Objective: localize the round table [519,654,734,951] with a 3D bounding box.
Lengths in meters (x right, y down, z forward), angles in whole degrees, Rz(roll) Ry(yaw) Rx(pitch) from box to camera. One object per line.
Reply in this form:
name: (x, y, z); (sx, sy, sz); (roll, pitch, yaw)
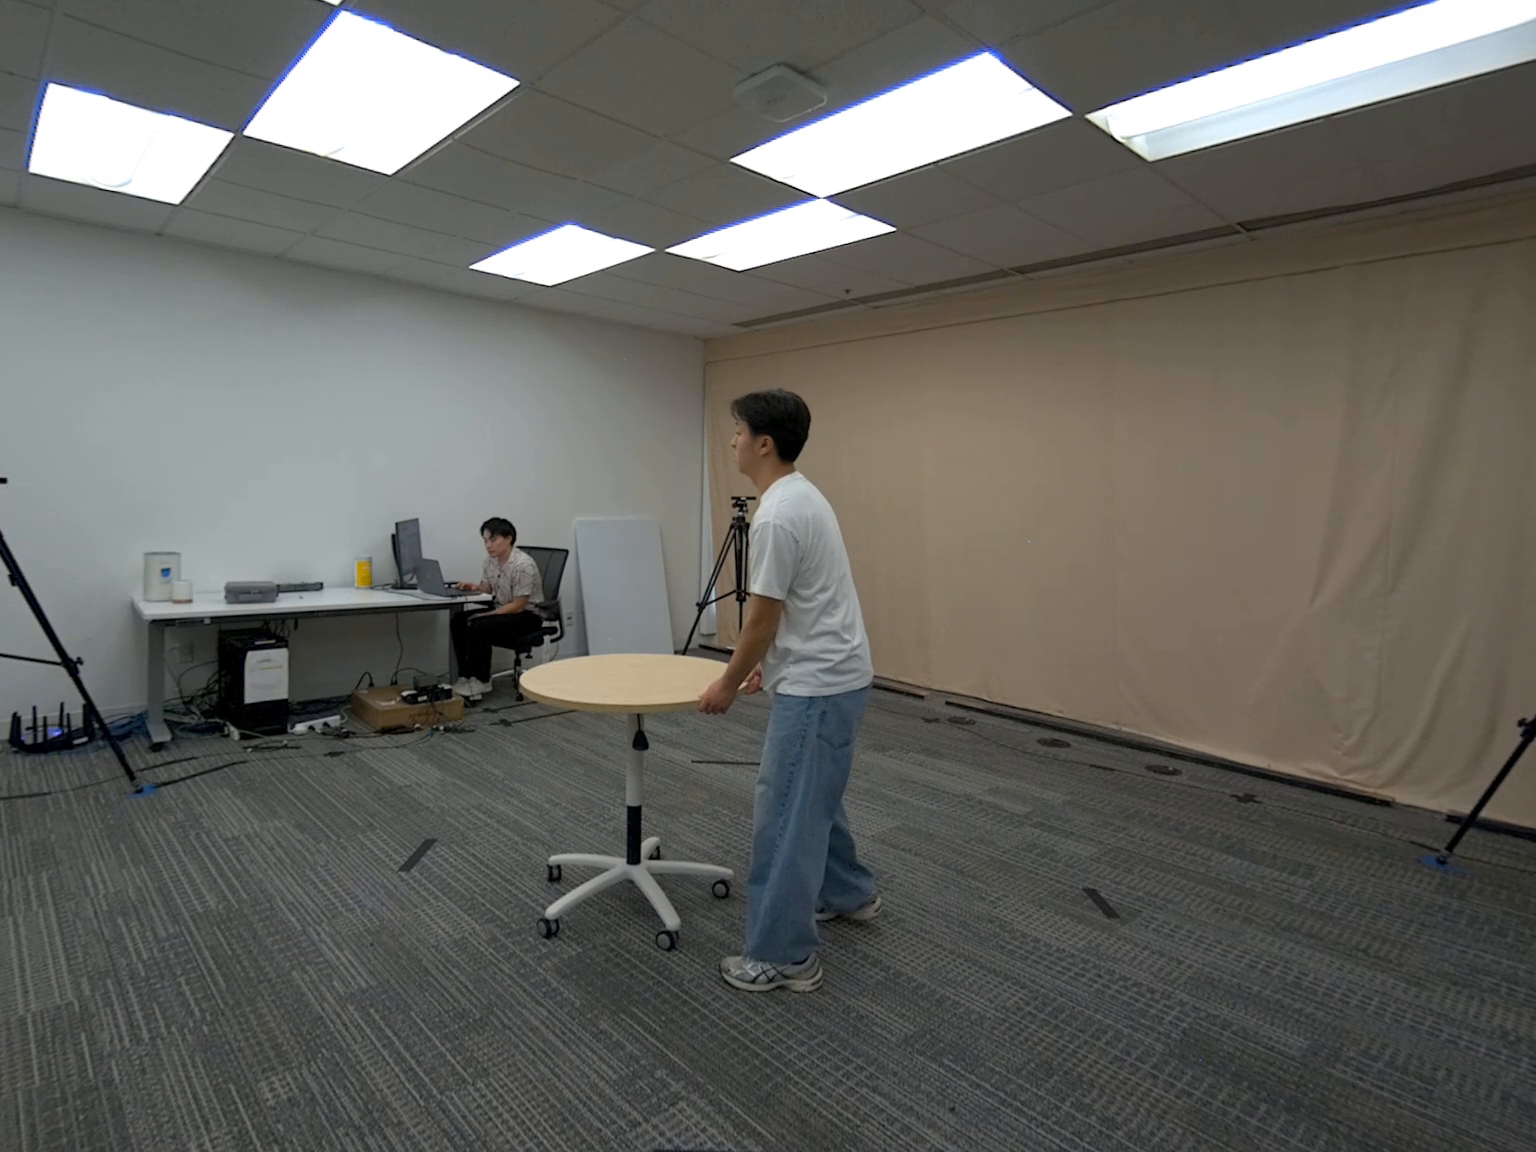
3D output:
round table: (-0.468, 0.732, 2.864); (0.763, 0.792, 0.767); (1, 4, -1)
